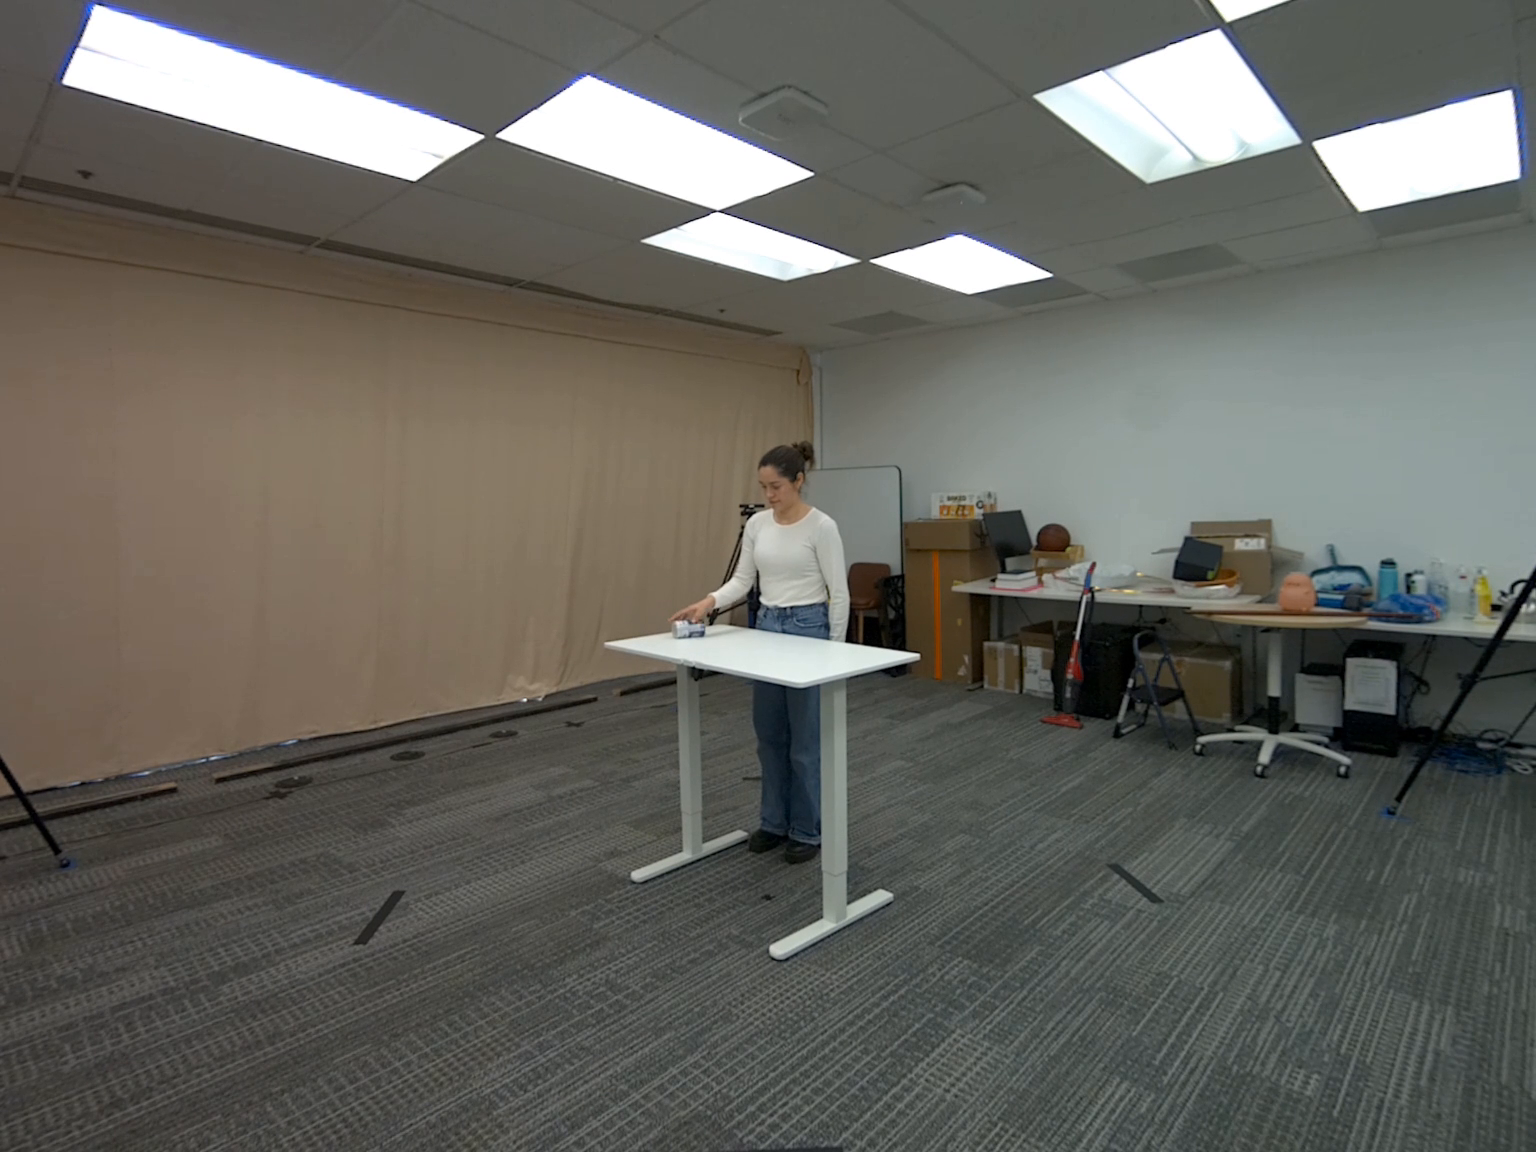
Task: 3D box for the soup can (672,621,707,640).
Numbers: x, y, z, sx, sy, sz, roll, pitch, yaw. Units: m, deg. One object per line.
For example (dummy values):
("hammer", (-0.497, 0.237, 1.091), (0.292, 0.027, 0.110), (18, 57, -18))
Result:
("soup can", (-0.309, 0.205, 3.247), (0.119, 0.067, 0.068), (-1, 4, -16))
